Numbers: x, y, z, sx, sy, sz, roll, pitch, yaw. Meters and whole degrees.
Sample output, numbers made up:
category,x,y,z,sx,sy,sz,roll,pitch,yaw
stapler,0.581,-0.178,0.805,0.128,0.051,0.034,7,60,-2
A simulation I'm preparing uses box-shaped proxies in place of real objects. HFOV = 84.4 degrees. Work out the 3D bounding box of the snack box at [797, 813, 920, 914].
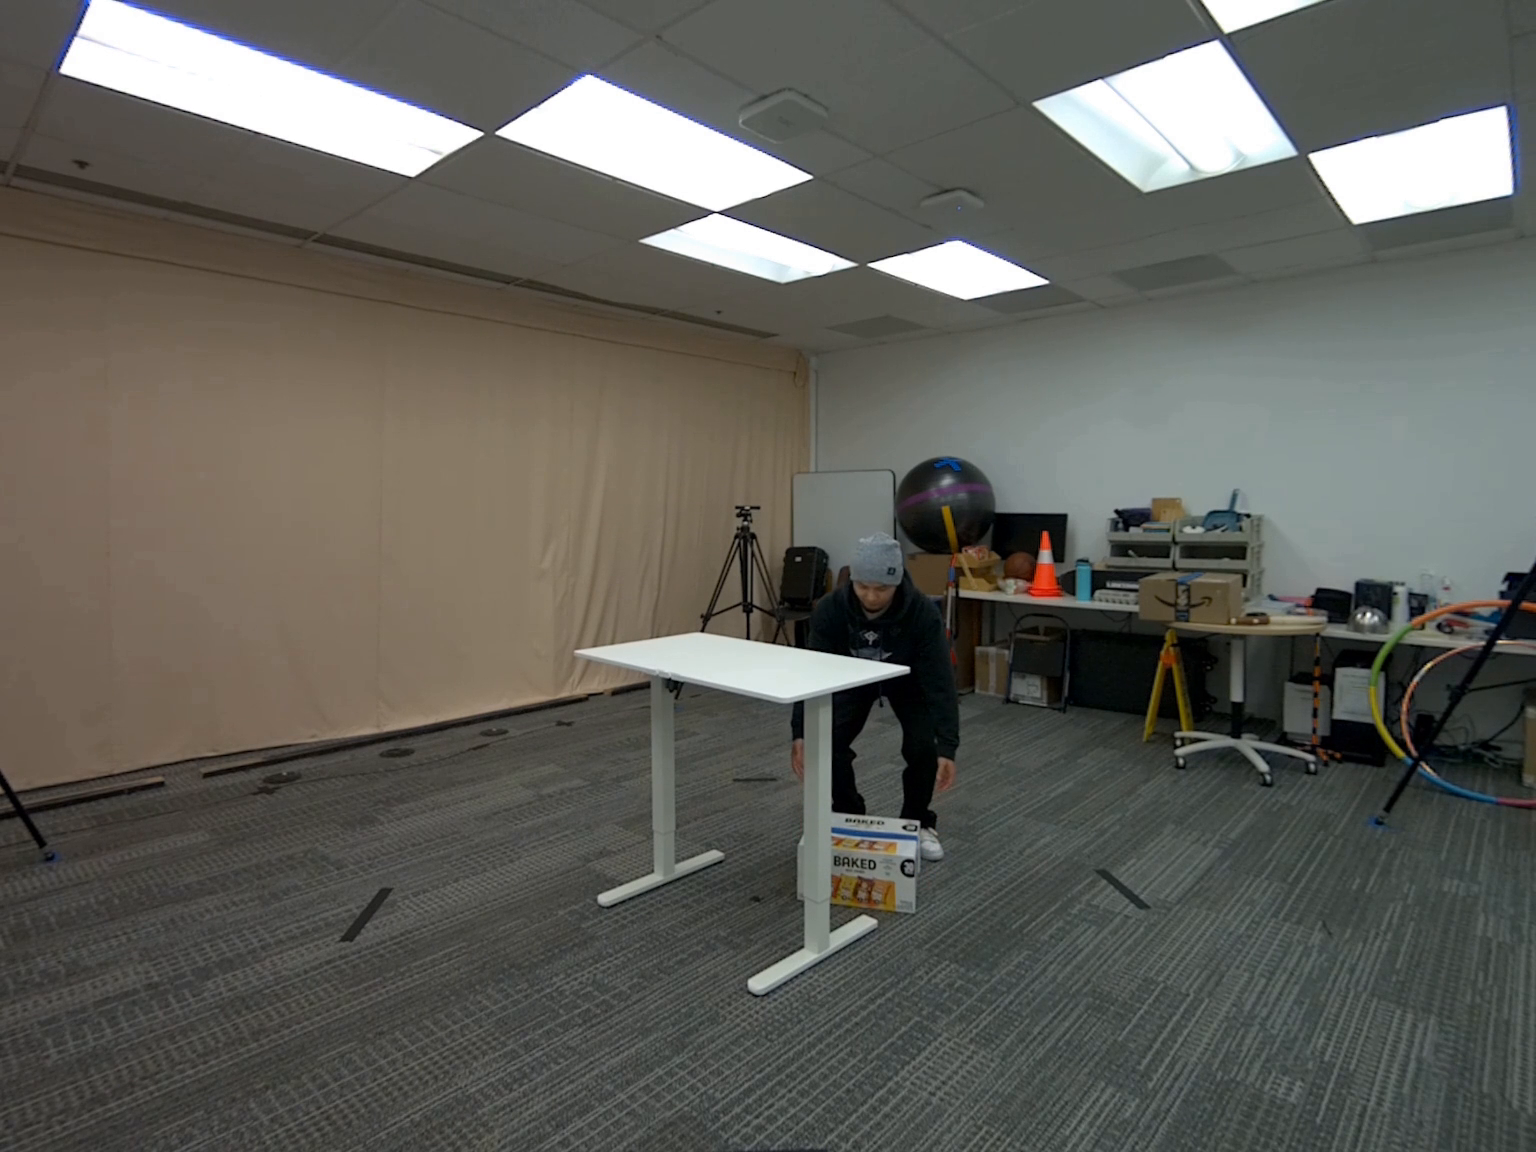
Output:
category,x,y,z,sx,sy,sz,roll,pitch,yaw
snack box,0.344,1.036,3.069,0.412,0.205,0.335,1,5,15
